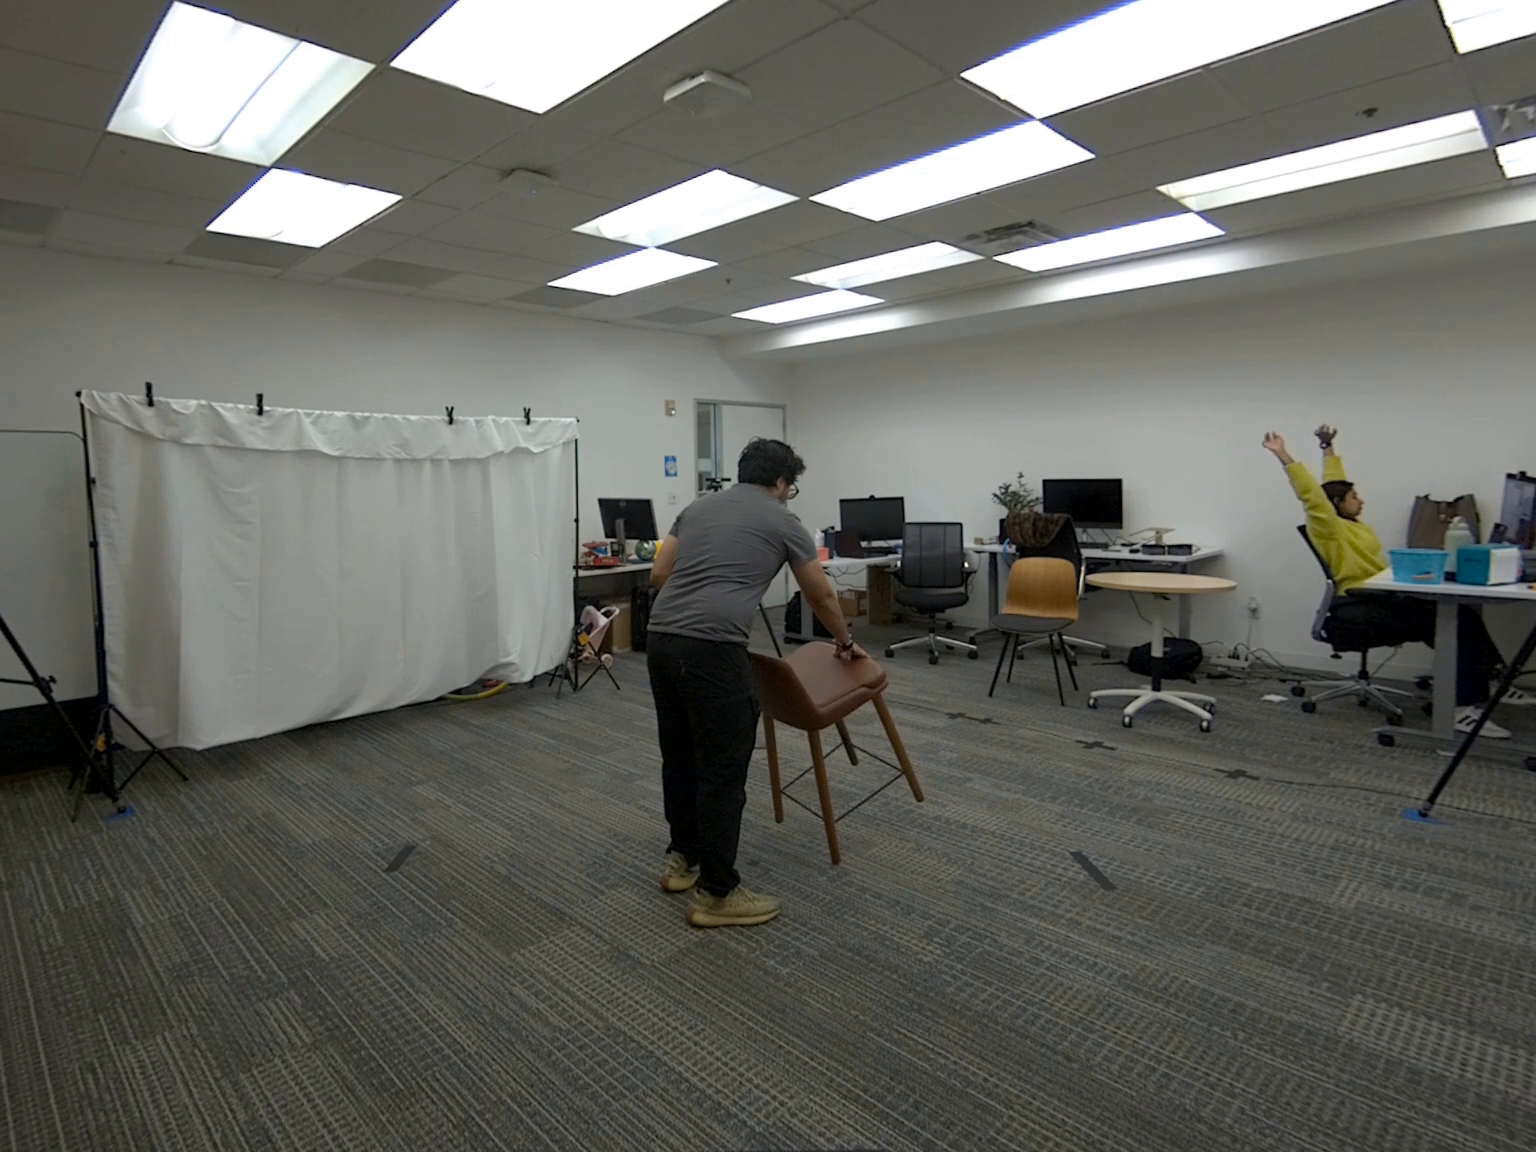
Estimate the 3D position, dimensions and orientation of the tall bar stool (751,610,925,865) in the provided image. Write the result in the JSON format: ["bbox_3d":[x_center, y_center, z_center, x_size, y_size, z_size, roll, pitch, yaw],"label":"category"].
[{"bbox_3d":[0.196,0.531,3.191,0.463,0.870,0.472,-28,24,-27],"label":"tall bar stool"}]
